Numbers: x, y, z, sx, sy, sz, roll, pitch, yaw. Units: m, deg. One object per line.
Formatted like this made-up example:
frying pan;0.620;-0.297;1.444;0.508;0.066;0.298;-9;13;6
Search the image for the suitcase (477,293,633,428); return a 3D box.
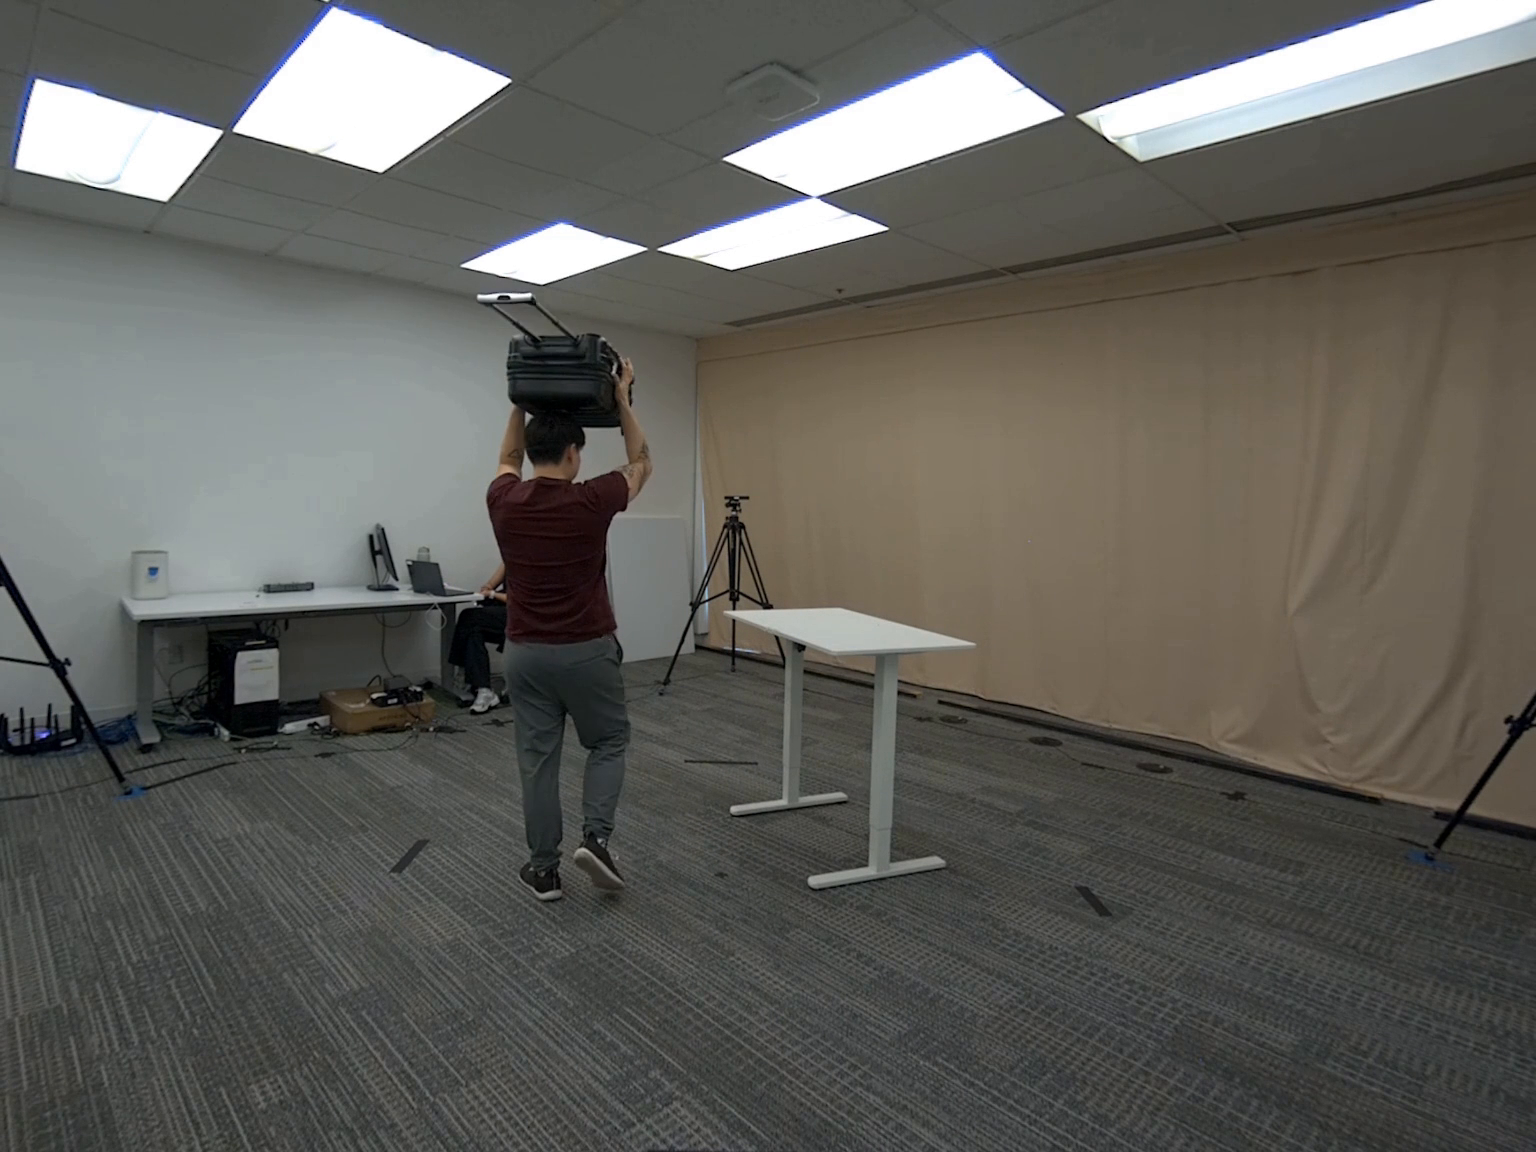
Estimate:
suitcase;-0.713;-0.697;2.846;0.385;0.257;0.975;1;0;2
